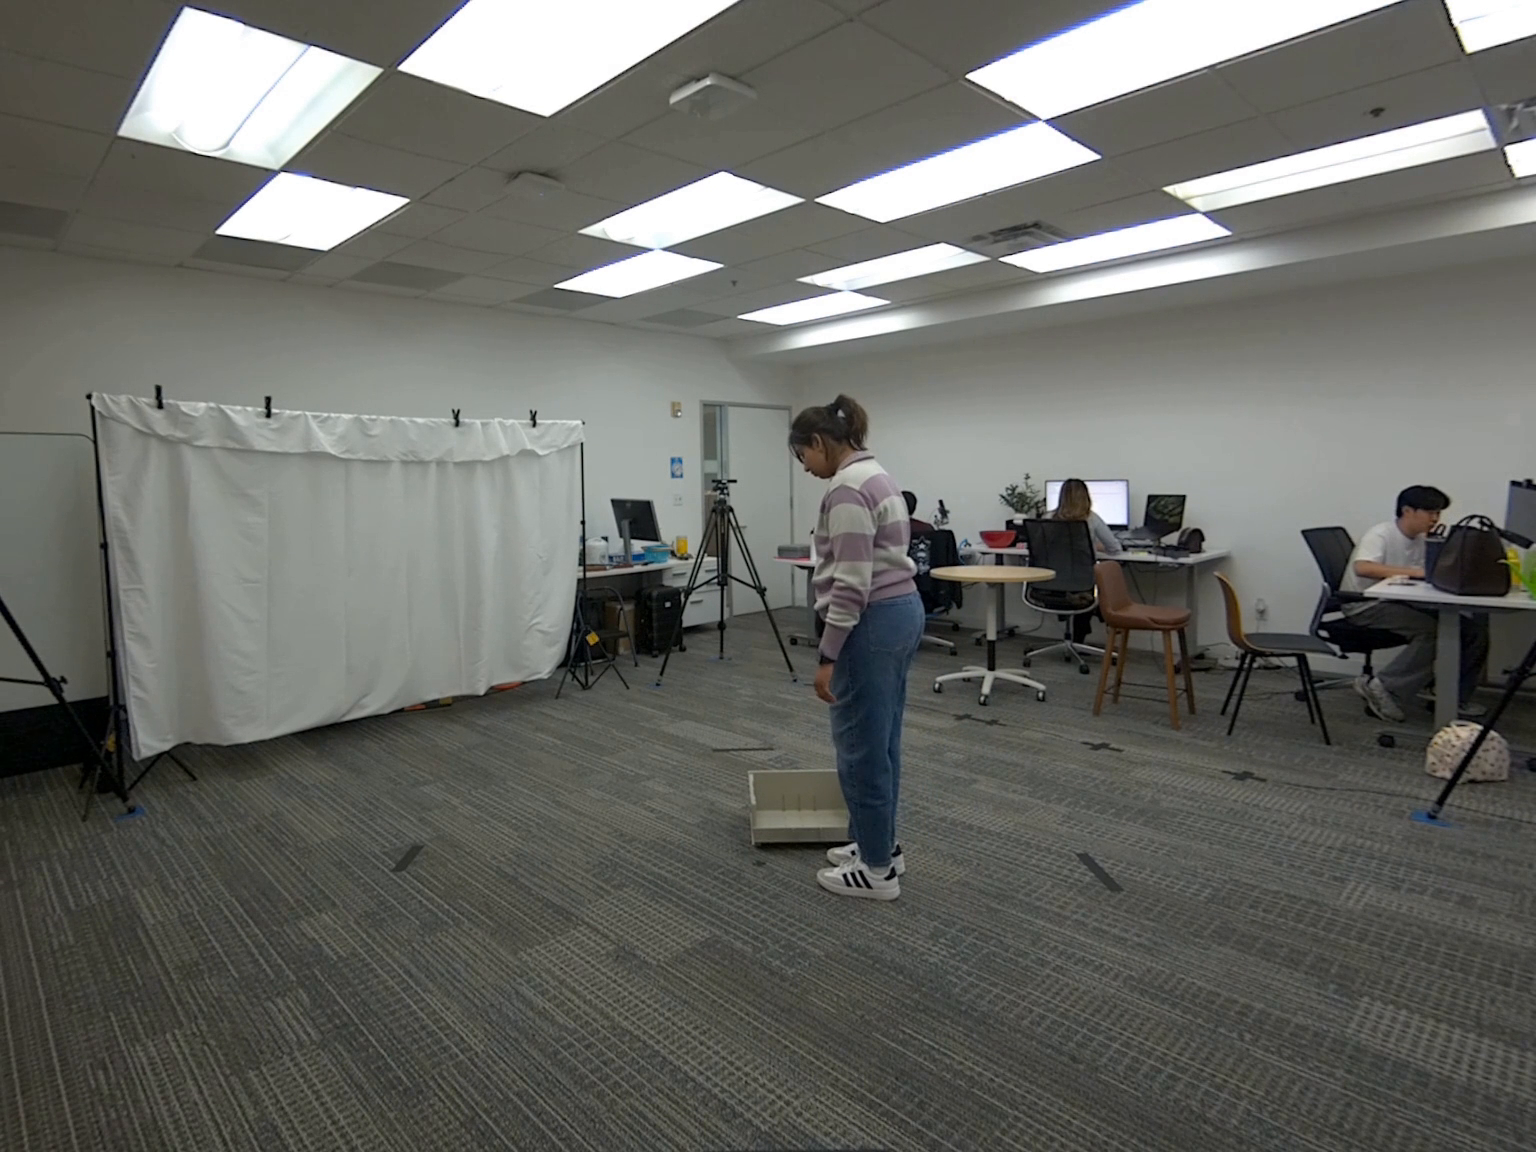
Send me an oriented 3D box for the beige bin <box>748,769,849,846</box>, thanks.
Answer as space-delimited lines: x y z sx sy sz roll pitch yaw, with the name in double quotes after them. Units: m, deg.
0.142 0.925 3.391 0.422 0.188 0.379 -1 6 -1 "beige bin"
